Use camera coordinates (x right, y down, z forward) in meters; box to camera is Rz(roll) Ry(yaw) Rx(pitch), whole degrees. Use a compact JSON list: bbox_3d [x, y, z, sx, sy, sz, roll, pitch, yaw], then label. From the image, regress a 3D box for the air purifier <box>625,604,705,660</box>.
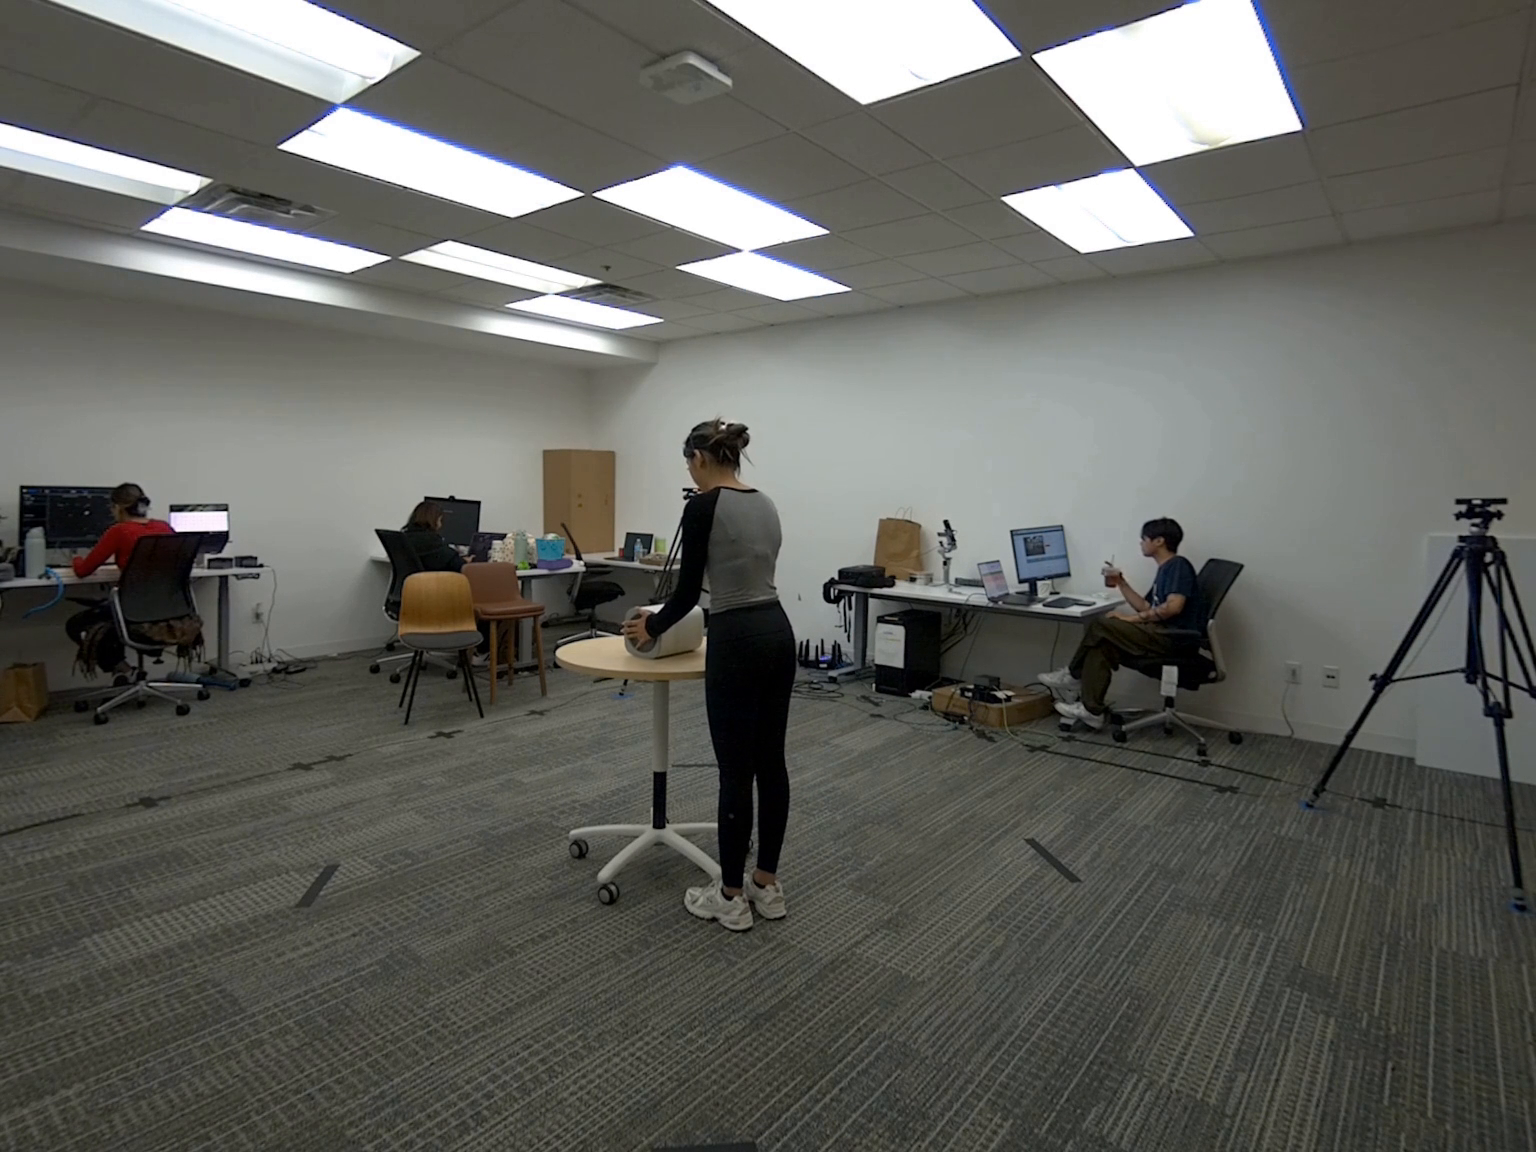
[{"bbox_3d":[-0.377,0.188,3.078,0.177,0.171,0.258,6,7,35],"label":"air purifier"}]
